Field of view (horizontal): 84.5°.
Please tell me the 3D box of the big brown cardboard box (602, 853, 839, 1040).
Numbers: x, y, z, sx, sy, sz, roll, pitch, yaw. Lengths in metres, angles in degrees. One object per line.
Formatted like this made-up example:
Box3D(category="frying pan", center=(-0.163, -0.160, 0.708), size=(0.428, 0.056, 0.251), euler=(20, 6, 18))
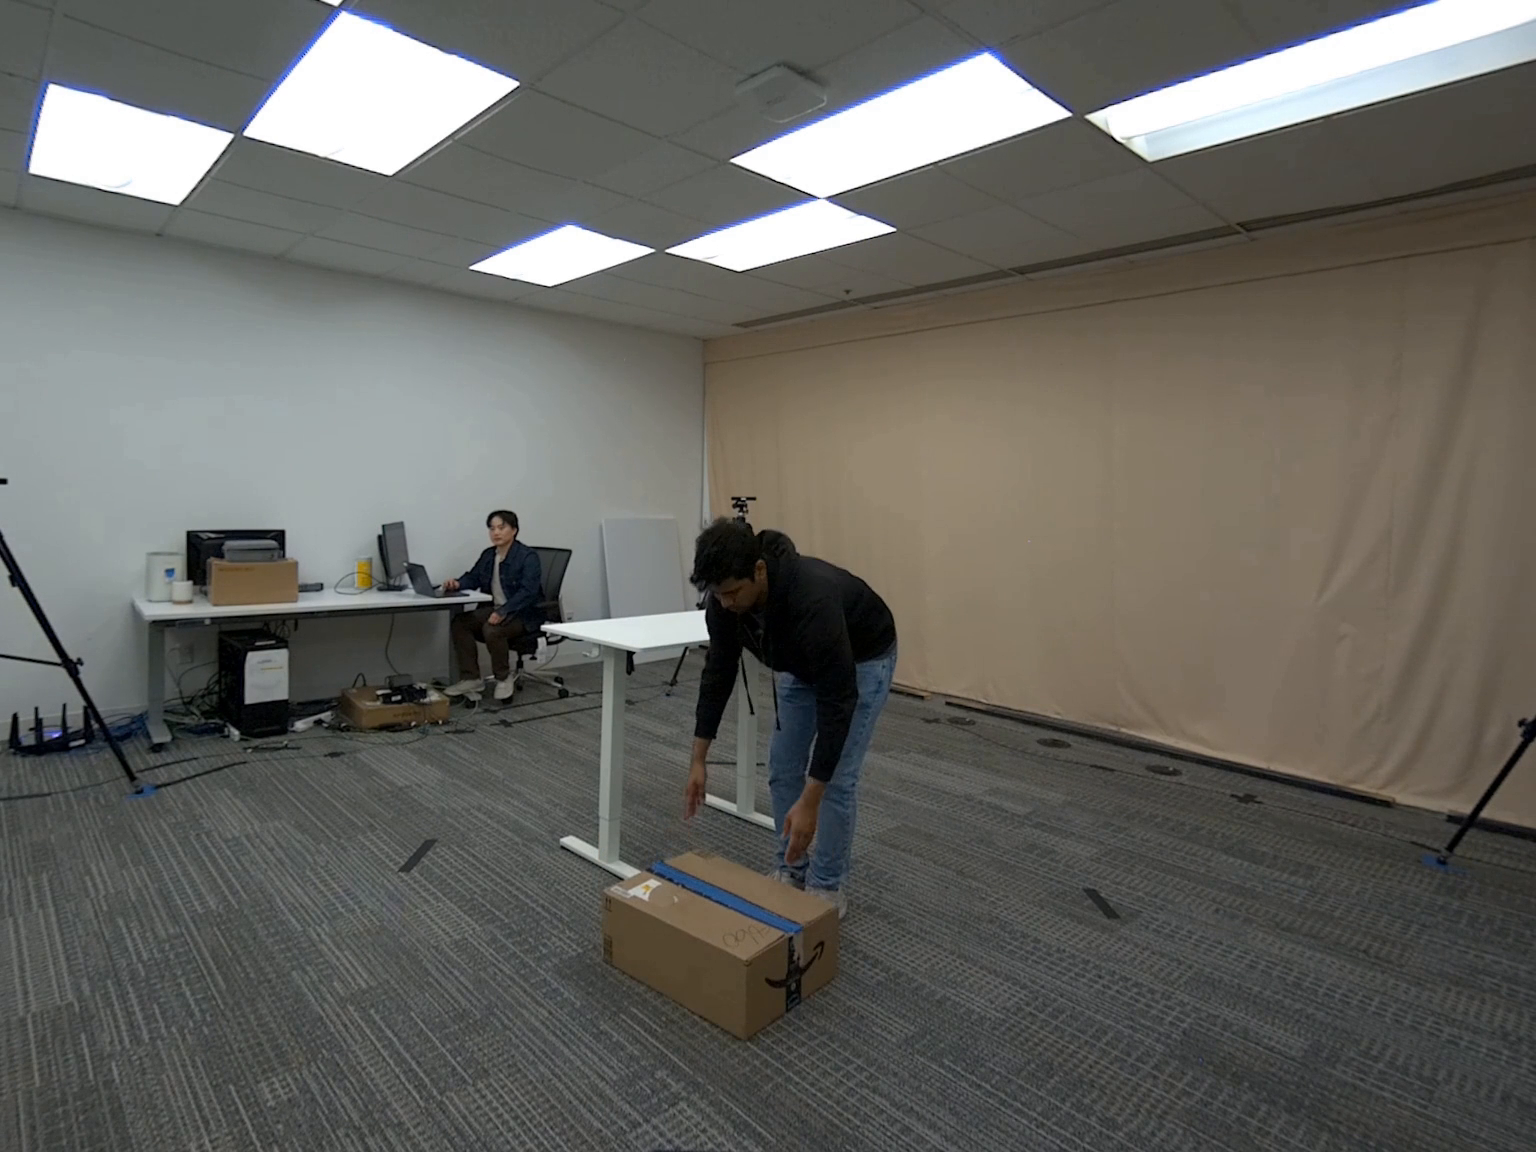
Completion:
Box3D(category="big brown cardboard box", center=(-0.156, 1.055, 2.485), size=(0.604, 0.232, 0.408), euler=(6, 6, 39))
